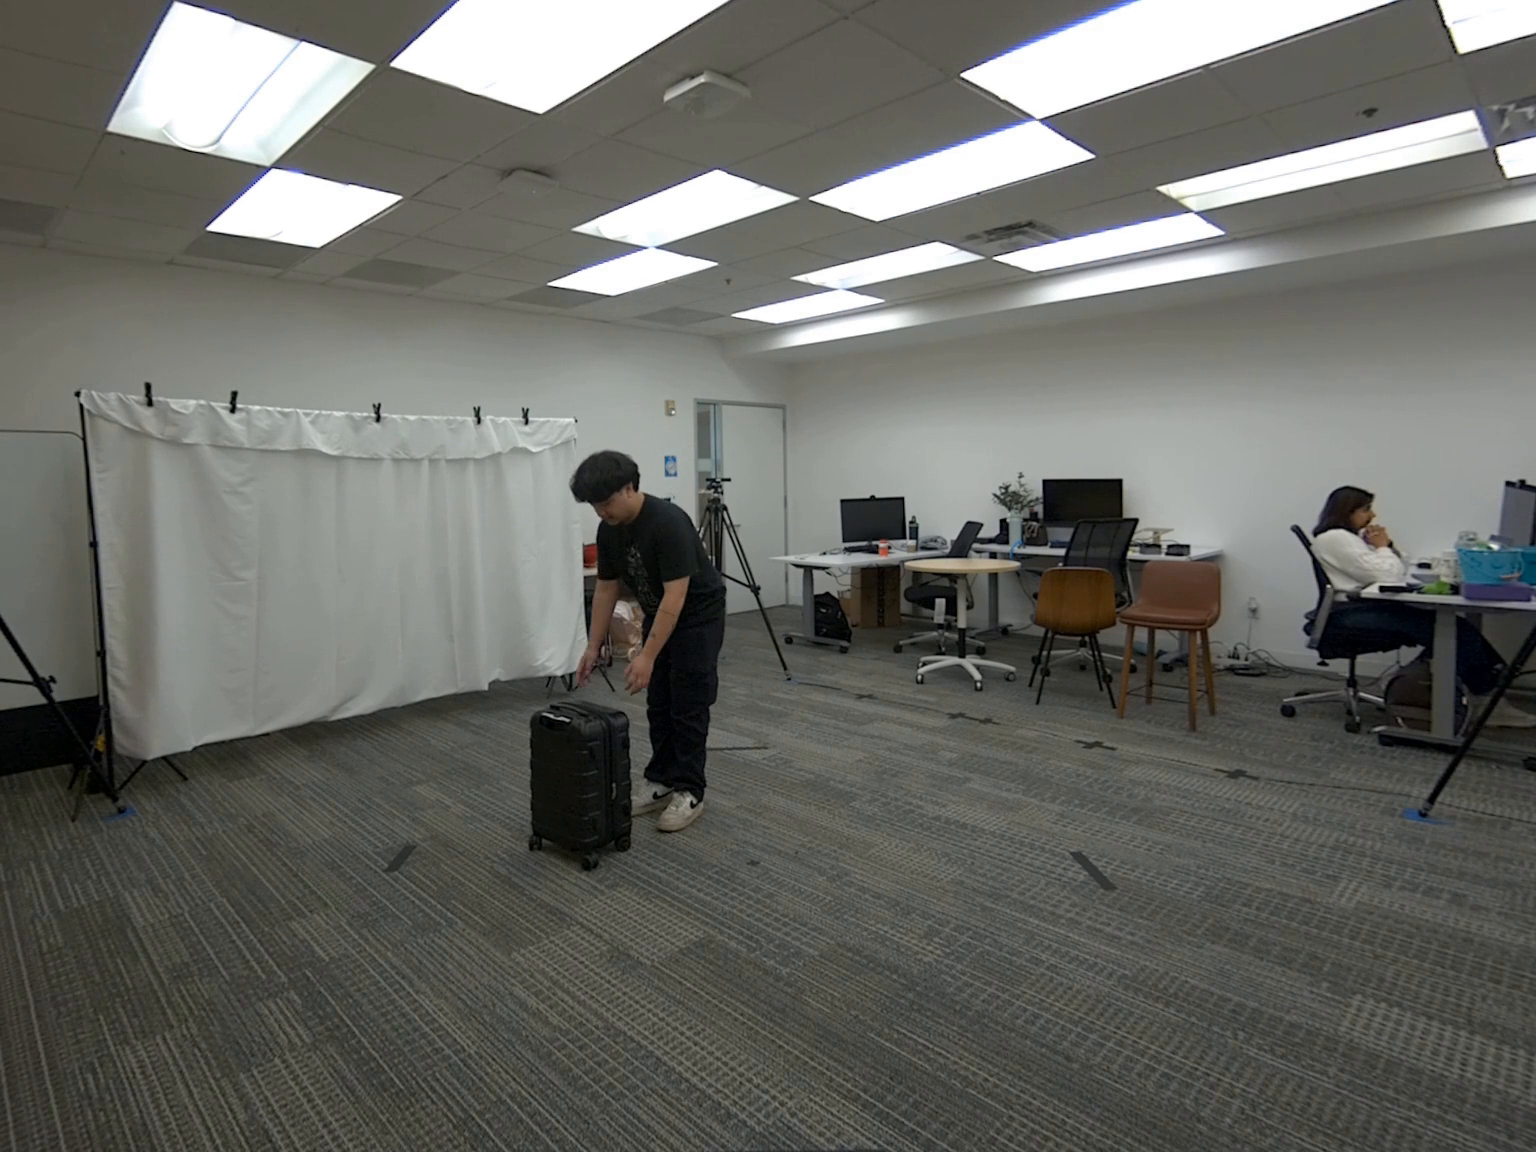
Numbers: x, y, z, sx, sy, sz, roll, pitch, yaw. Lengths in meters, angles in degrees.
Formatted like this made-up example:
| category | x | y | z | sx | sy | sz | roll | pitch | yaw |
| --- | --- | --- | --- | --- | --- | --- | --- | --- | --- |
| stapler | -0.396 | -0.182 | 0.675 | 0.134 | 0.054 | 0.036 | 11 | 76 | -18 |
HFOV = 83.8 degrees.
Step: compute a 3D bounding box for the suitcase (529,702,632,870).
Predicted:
| category | x | y | z | sx | sy | sz | roll | pitch | yaw |
| --- | --- | --- | --- | --- | --- | --- | --- | --- | --- |
| suitcase | -0.721 | 0.764 | 3.250 | 0.386 | 0.548 | 0.241 | 1 | 3 | 41 |
